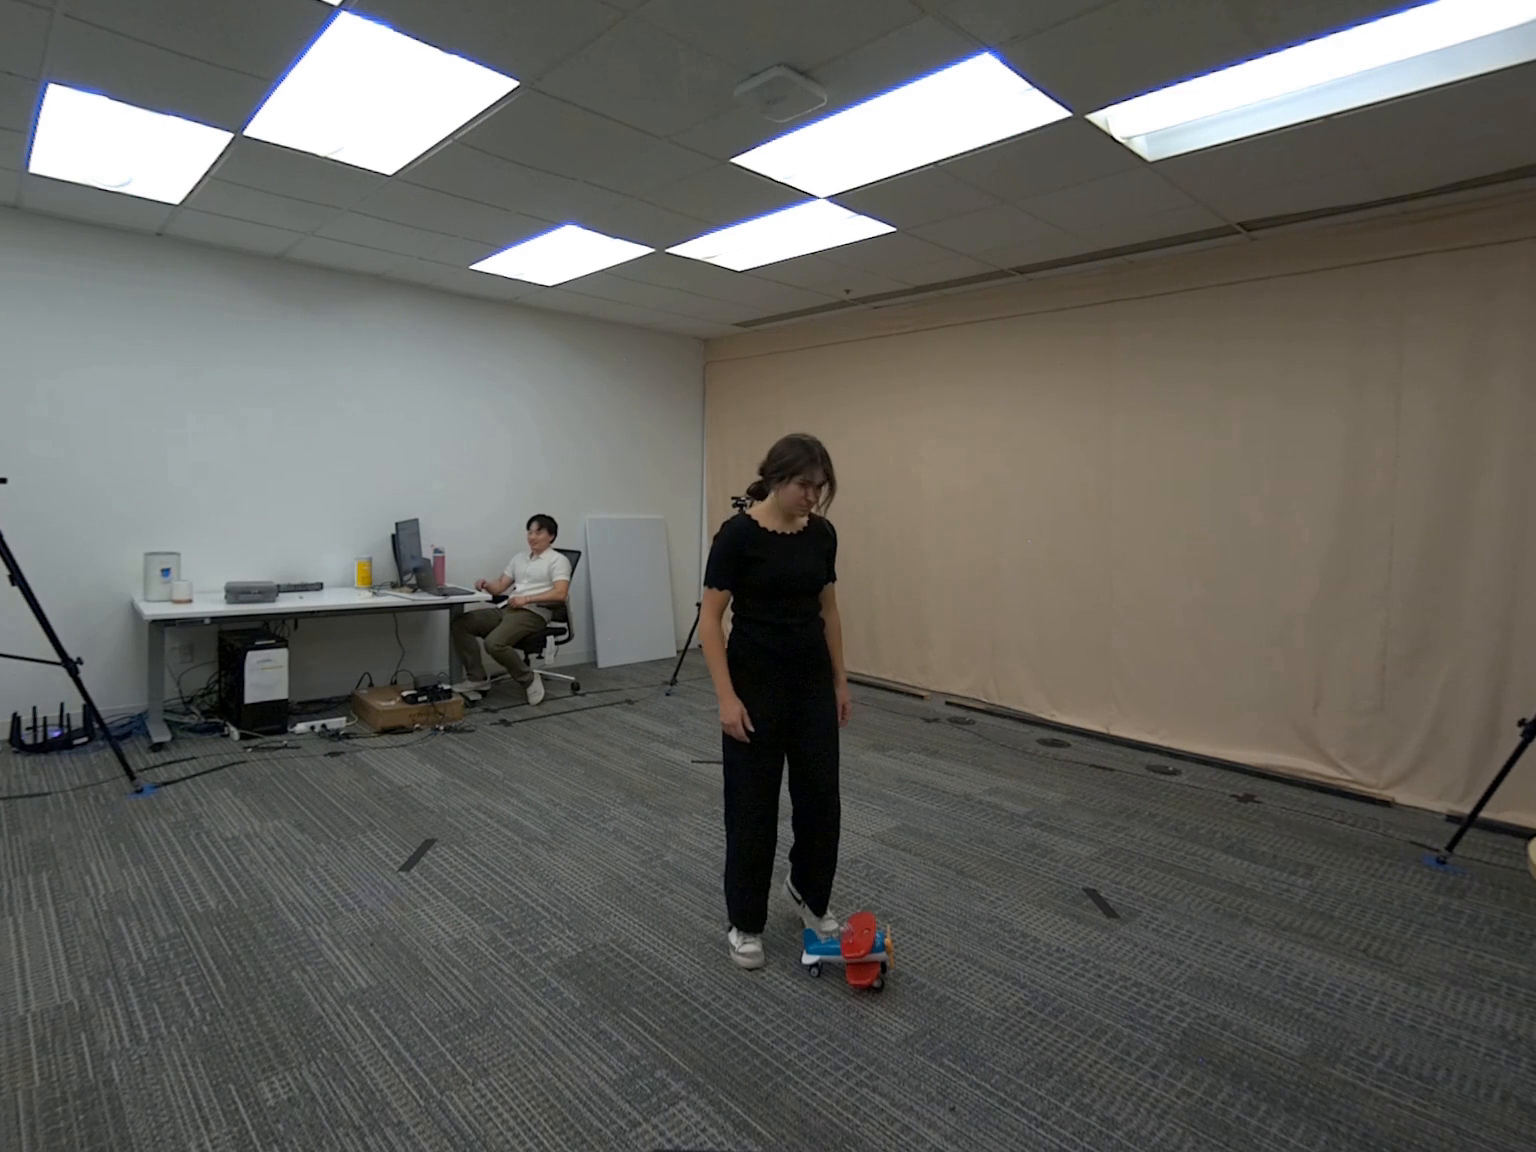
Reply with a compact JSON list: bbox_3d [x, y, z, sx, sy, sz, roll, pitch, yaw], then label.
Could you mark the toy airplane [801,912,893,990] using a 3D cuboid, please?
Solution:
[{"bbox_3d":[0.223,1.100,2.441,0.256,0.156,0.255,1,4,-15],"label":"toy airplane"}]
